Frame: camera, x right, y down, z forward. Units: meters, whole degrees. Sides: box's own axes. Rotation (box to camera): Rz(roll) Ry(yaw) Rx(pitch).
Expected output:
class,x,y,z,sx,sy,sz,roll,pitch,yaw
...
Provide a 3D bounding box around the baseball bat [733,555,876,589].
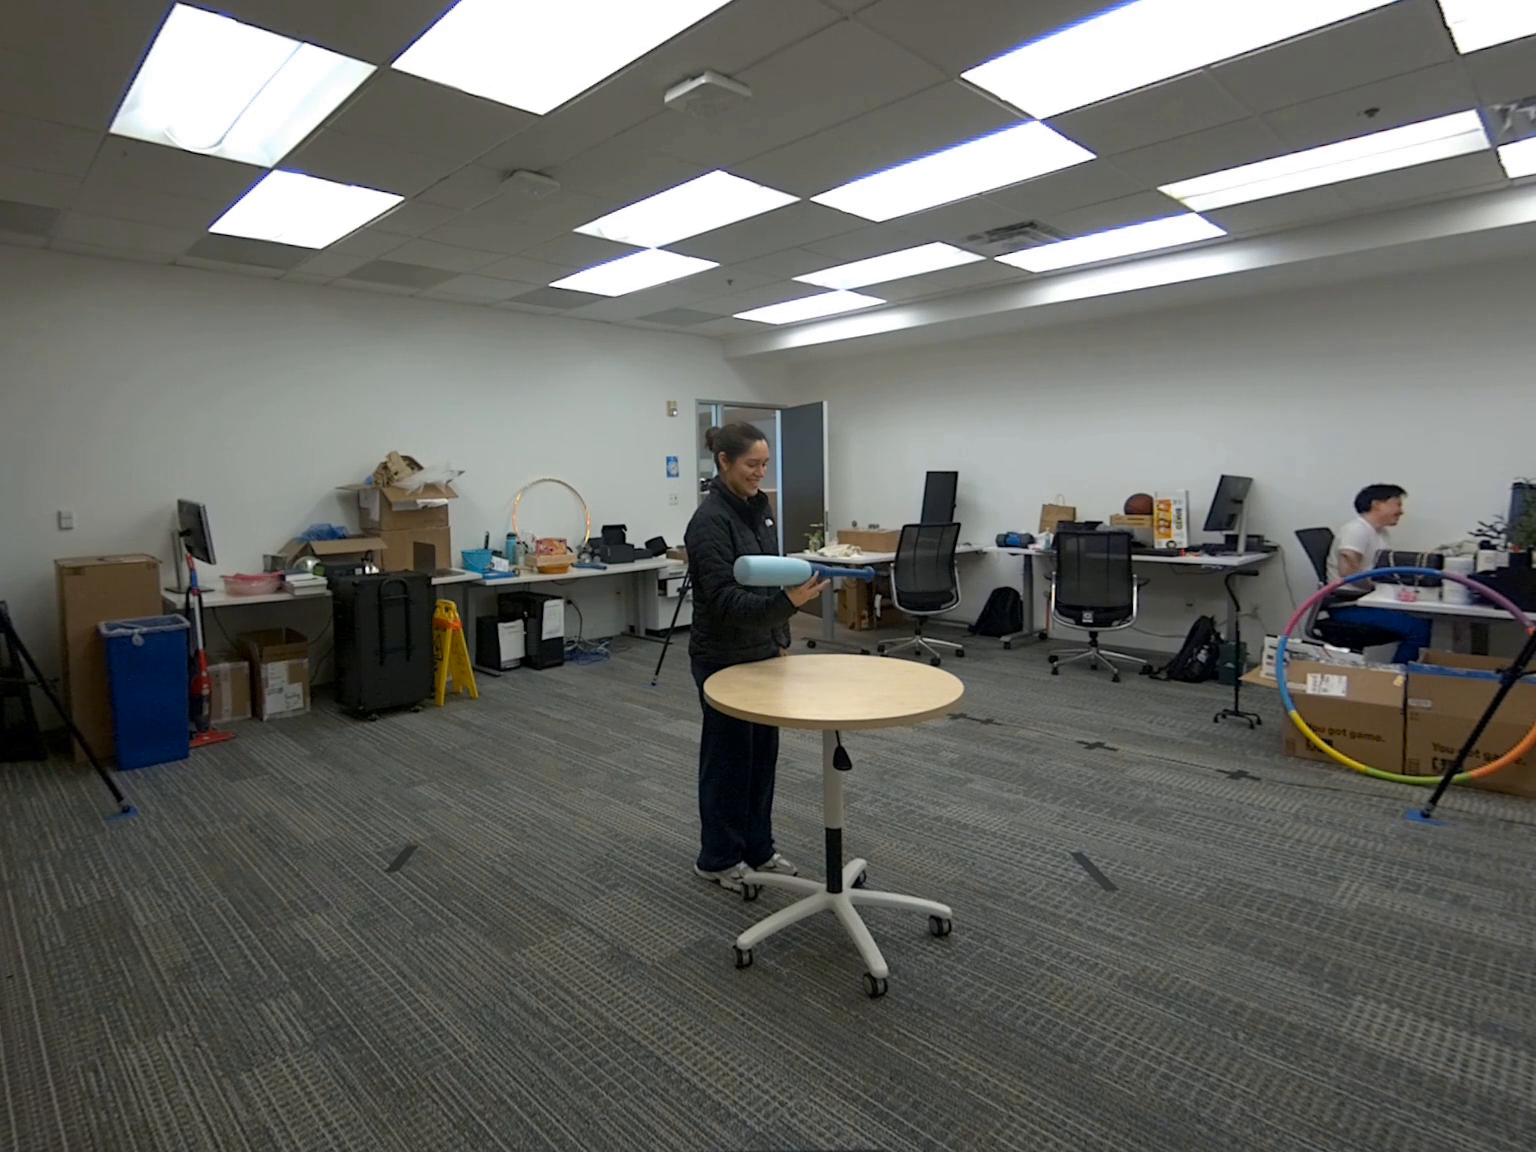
class,x,y,z,sx,sy,sz,roll,pitch,yaw
baseball bat,0.125,-0.008,2.666,0.527,0.089,0.092,3,1,-36
